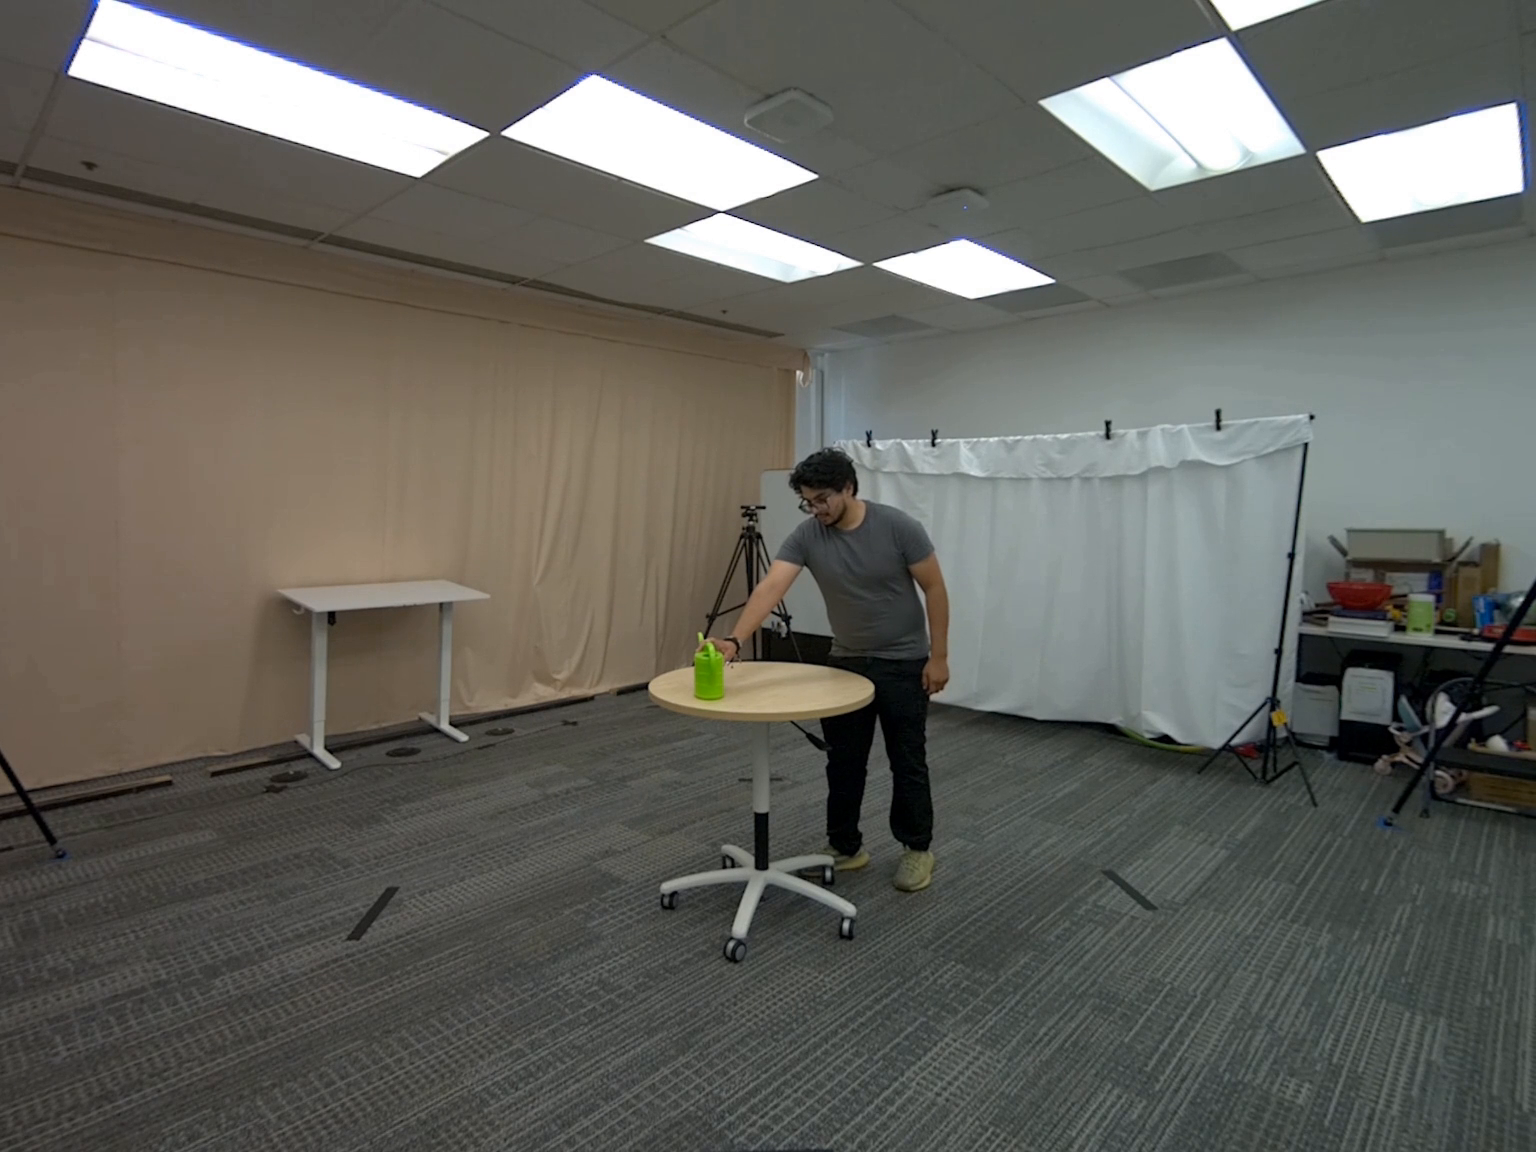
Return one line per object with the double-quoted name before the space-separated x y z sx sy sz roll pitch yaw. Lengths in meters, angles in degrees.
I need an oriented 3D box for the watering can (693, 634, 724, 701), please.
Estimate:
"watering can" -0.184 0.299 2.746 0.098 0.176 0.279 -1 7 1
